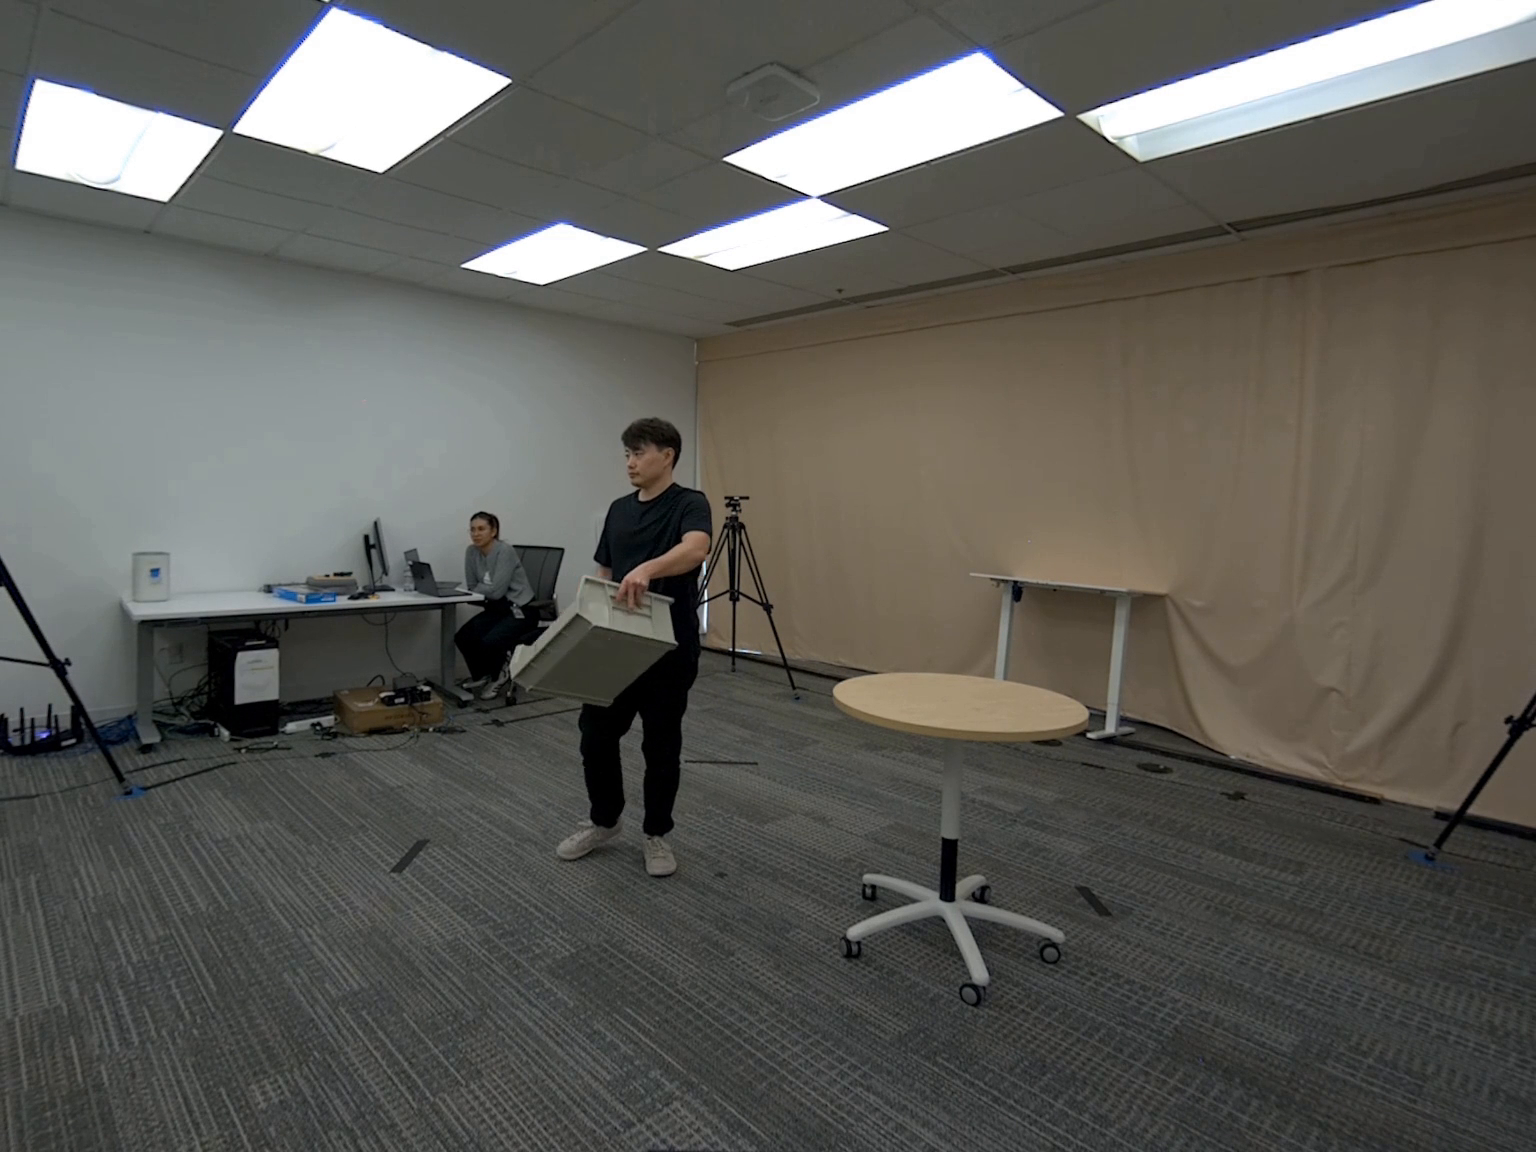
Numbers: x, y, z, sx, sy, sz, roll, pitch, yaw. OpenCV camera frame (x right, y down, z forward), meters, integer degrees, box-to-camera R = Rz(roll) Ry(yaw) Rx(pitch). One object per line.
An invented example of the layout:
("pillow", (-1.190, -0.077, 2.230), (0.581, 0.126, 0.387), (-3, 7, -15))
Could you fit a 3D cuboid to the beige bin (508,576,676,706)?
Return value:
("beige bin", (-0.573, 0.221, 2.705), (0.366, 0.194, 0.423), (19, -48, -38))
